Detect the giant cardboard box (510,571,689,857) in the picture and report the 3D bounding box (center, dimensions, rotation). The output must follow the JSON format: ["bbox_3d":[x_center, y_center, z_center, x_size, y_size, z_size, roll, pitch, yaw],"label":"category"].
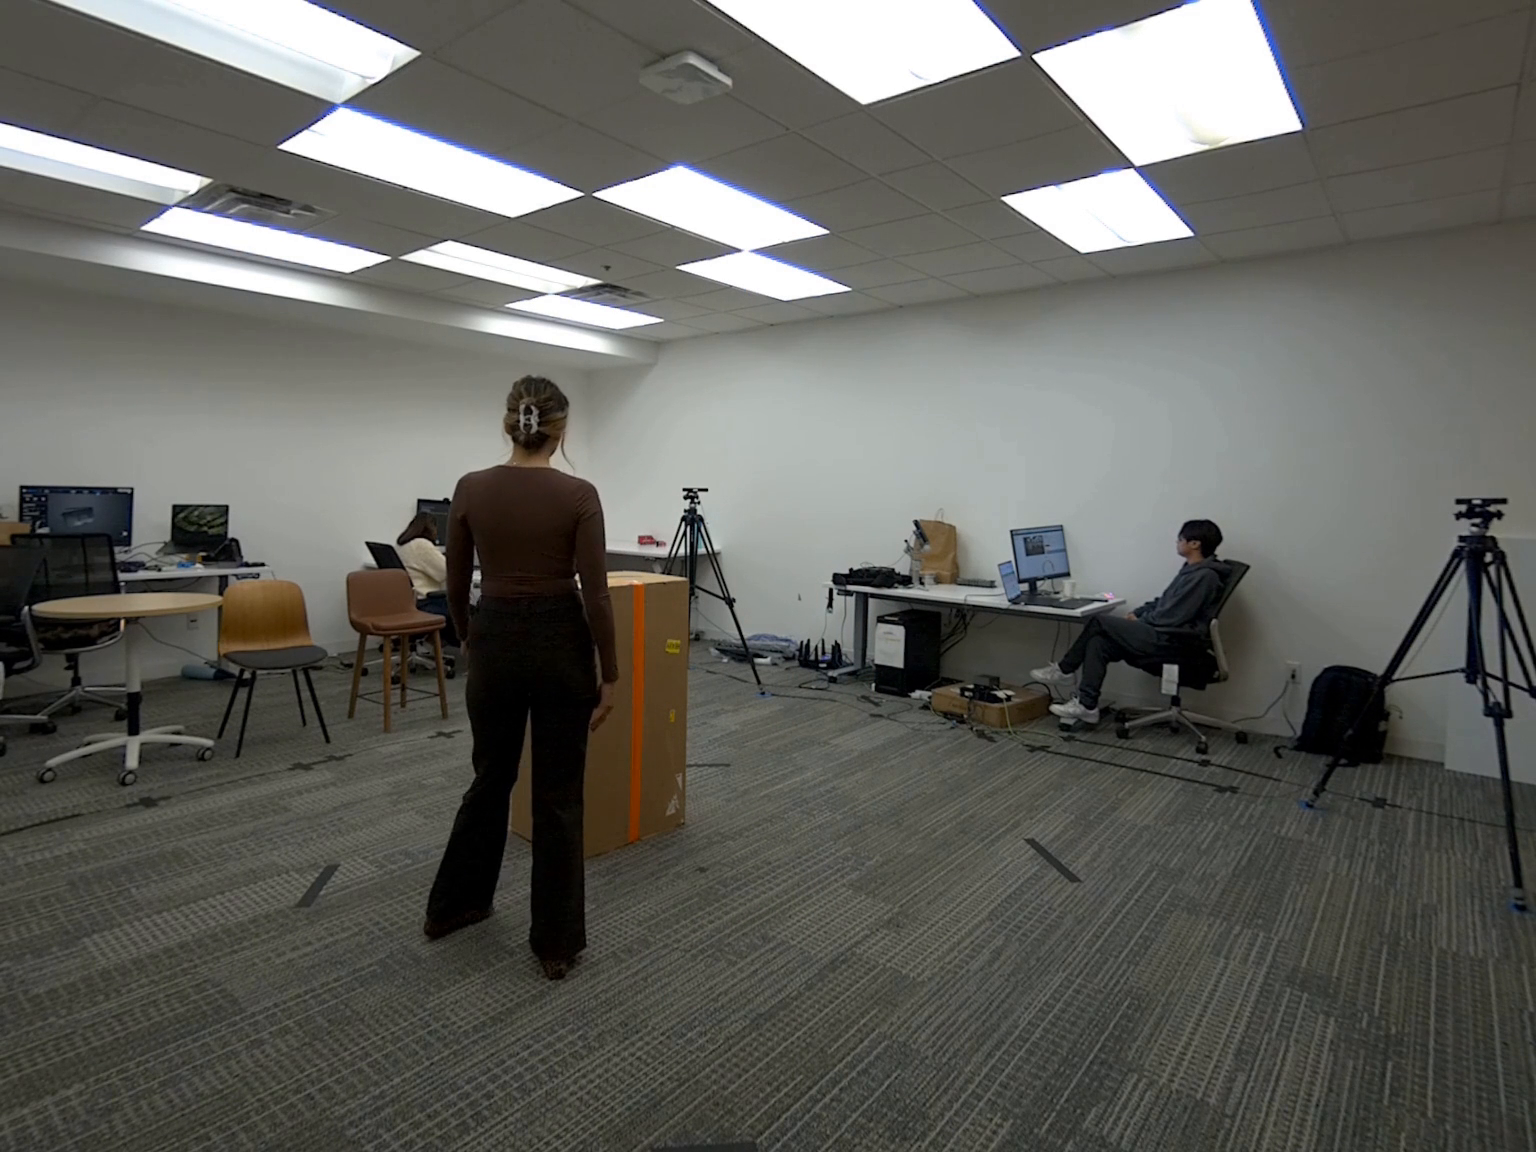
[{"bbox_3d":[-0.688,0.518,3.458,0.566,1.024,0.462,-2,5,-45],"label":"giant cardboard box"}]
